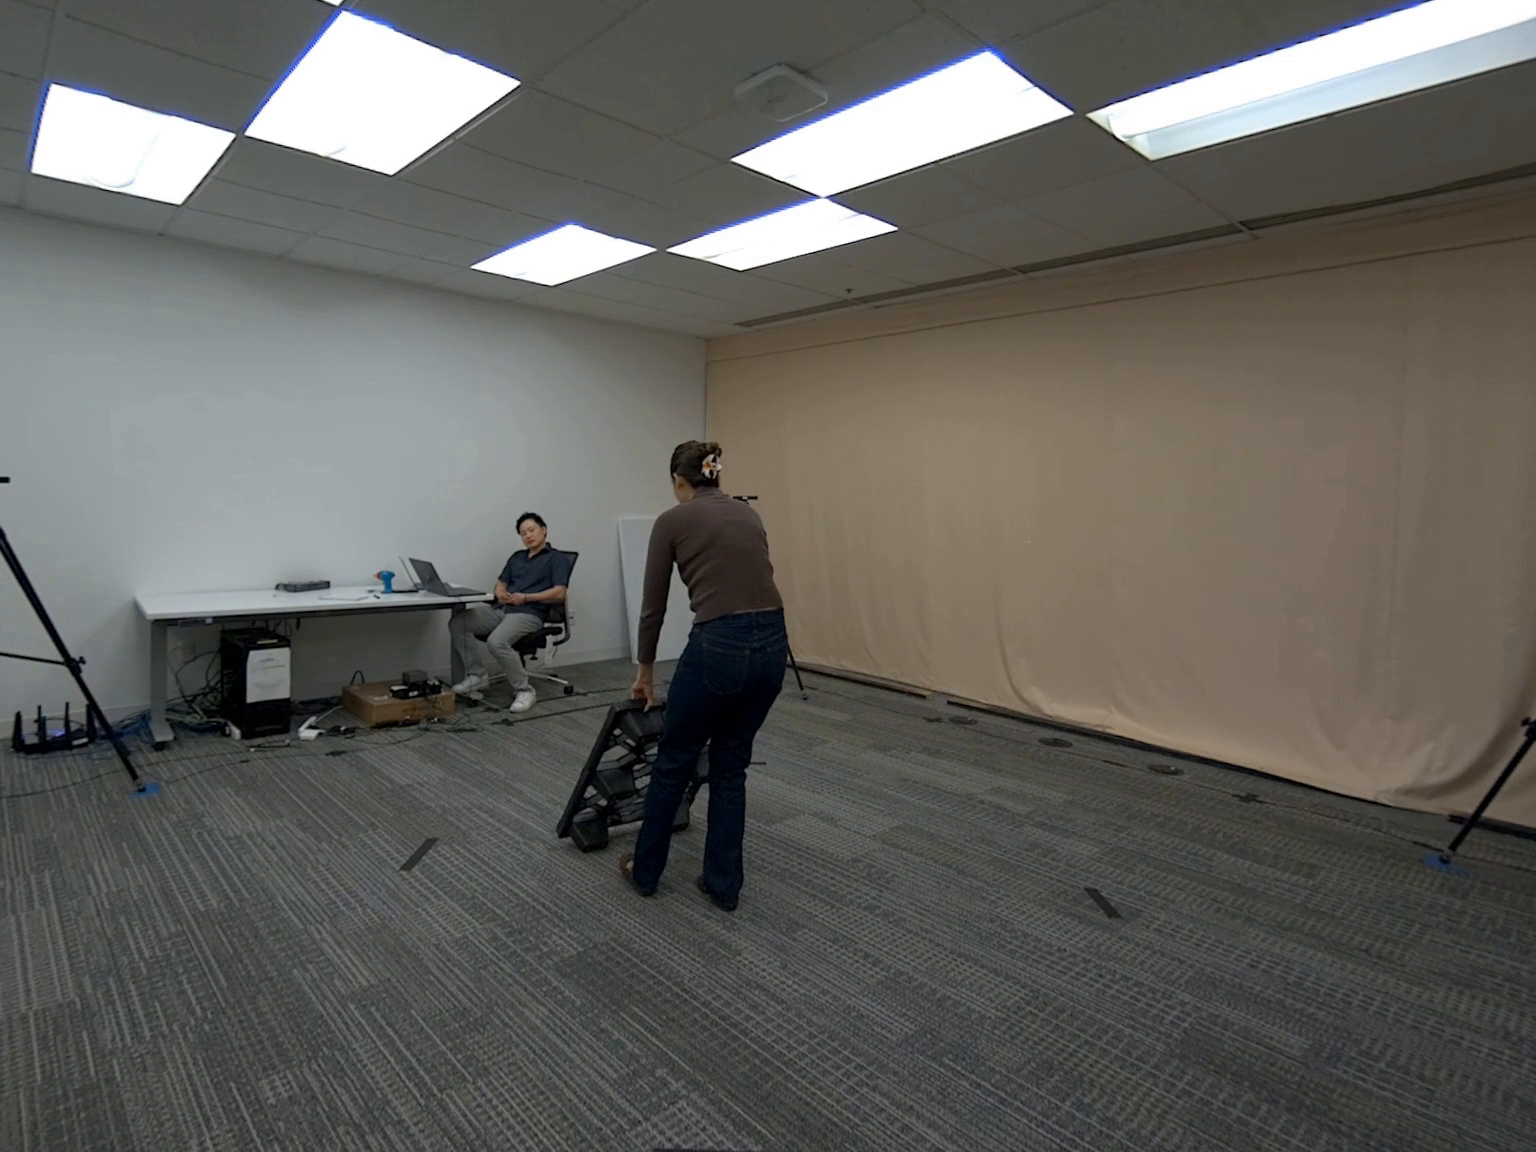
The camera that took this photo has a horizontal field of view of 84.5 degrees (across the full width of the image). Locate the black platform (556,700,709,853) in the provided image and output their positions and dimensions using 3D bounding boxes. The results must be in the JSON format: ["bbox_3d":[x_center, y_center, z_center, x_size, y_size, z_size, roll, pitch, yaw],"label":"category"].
[{"bbox_3d":[-0.429,0.753,3.229,0.592,0.798,0.148,-3,44,-36],"label":"black platform"}]
